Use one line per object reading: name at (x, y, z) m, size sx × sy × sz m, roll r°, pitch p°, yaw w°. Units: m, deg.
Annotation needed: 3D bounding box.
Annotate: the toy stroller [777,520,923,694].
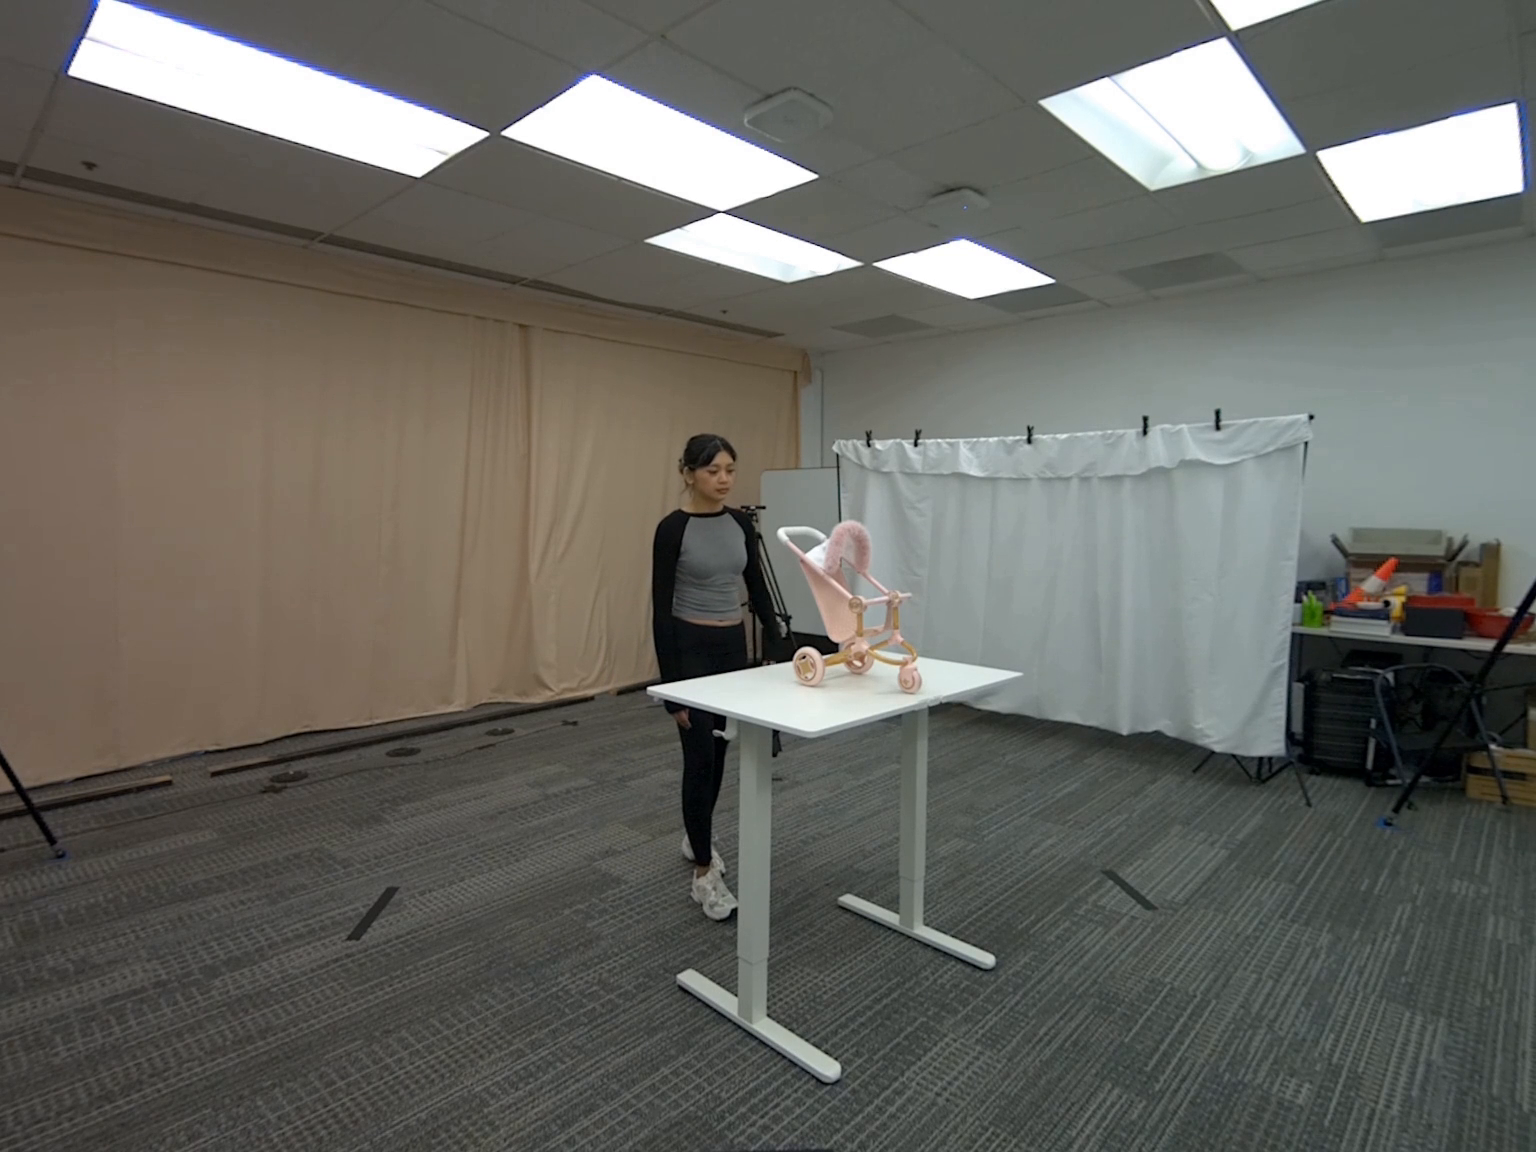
toy stroller at (0.245, 0.085, 2.402) m, size 0.273 × 0.538 × 0.350 m, roll -3°, pitch -9°, yaw -44°
